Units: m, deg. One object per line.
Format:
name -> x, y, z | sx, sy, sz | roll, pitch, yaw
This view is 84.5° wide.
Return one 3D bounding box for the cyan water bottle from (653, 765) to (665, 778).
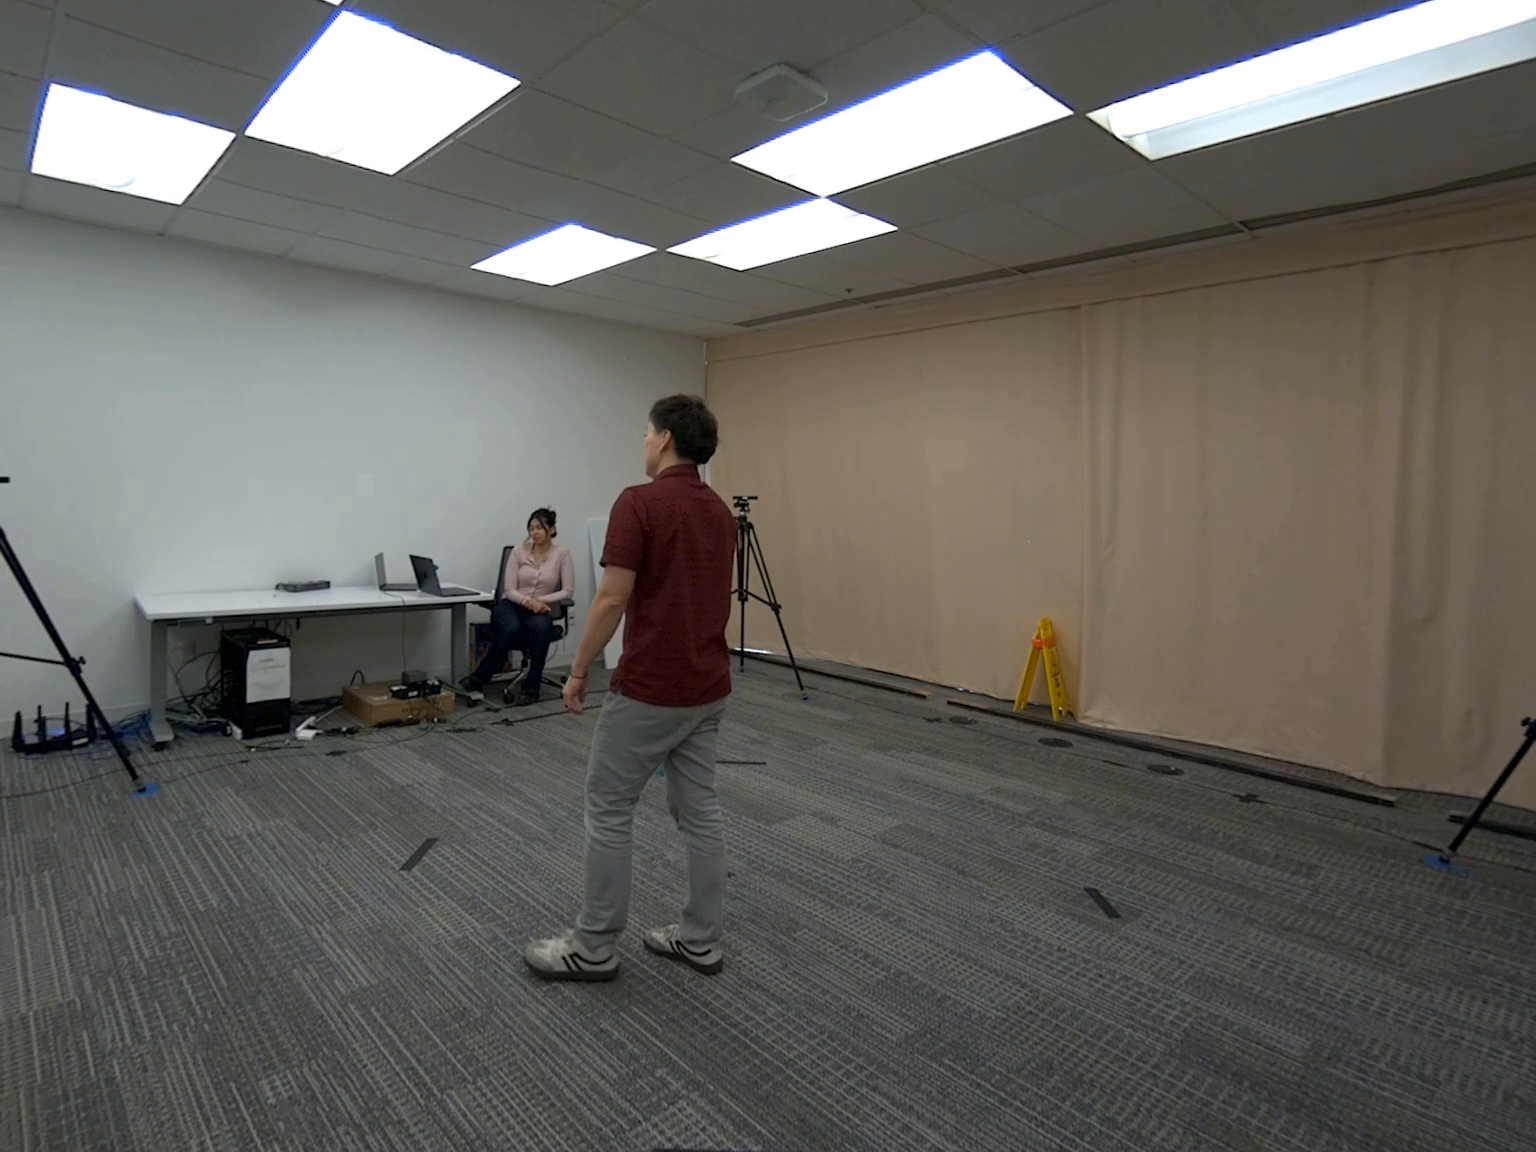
cyan water bottle -> -0.336, 0.527, 2.800 | 0.092, 0.283, 0.092 | 12, -1, -1
